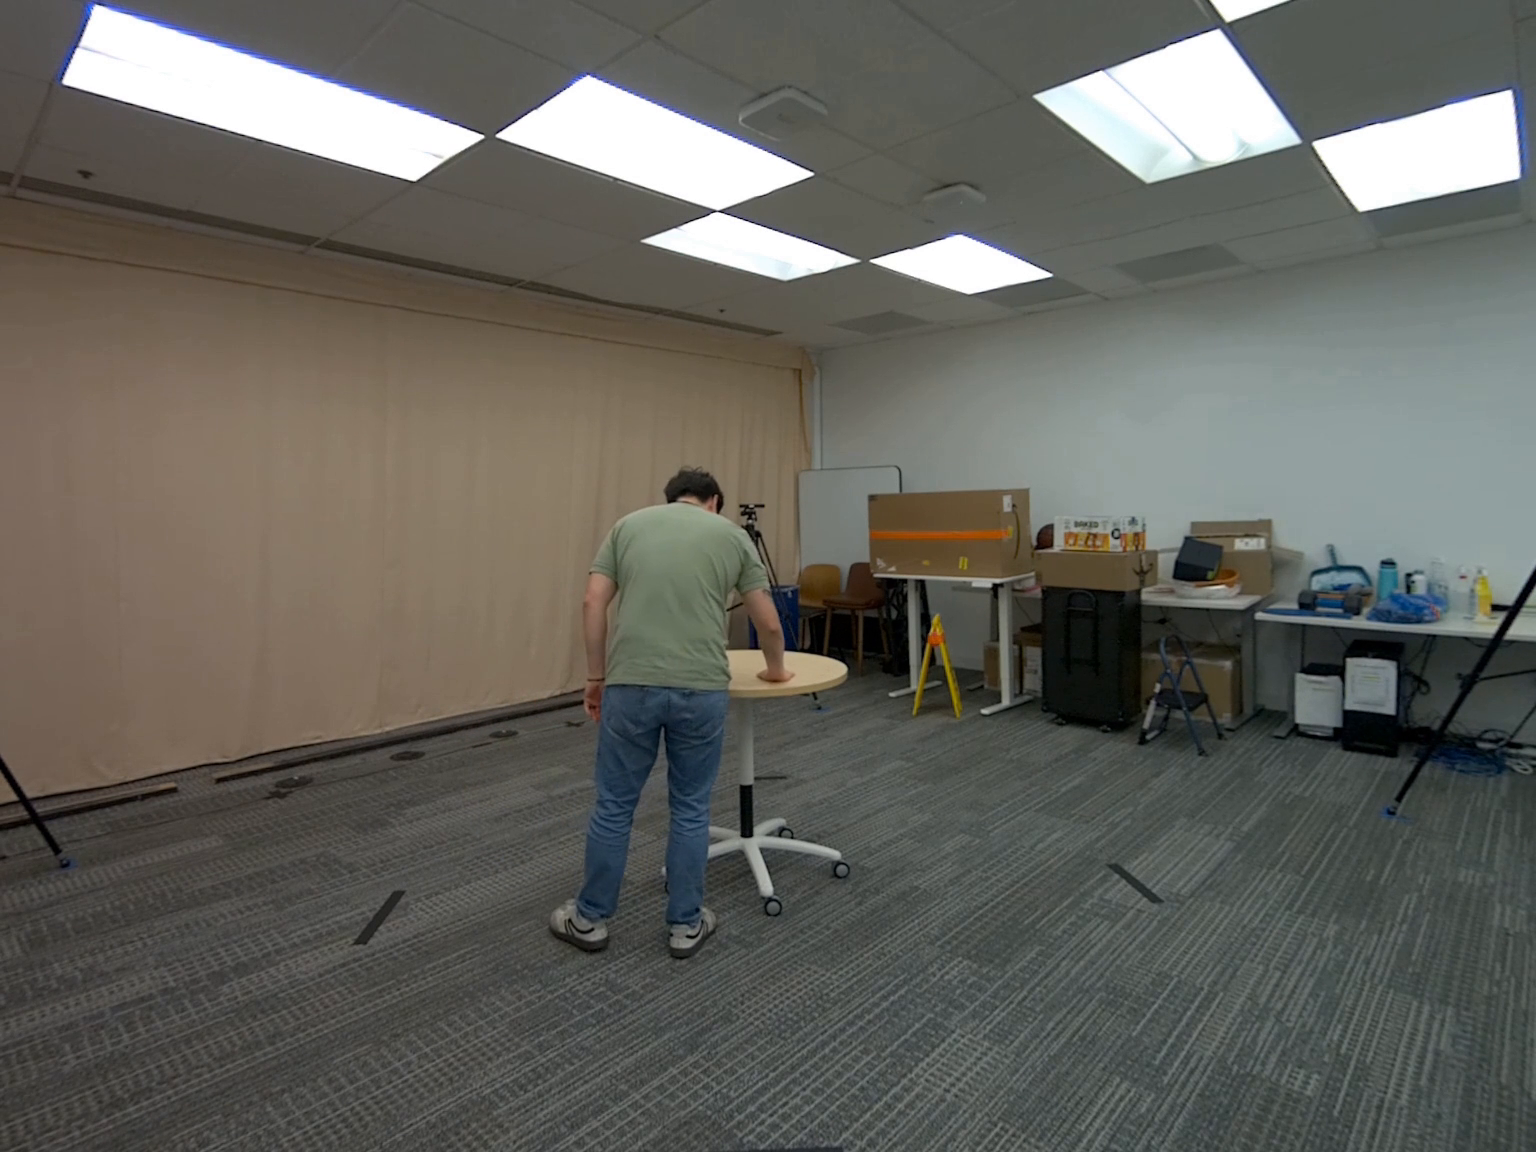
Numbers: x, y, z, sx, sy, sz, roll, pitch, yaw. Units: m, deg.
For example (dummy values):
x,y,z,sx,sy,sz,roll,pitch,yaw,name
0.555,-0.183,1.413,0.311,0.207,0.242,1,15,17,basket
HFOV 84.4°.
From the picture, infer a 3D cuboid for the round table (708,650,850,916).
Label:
x,y,z,sx,sy,sz,roll,pitch,yaw,name
-0.078,0.736,3.172,0.763,0.792,0.767,-1,4,-2,round table
